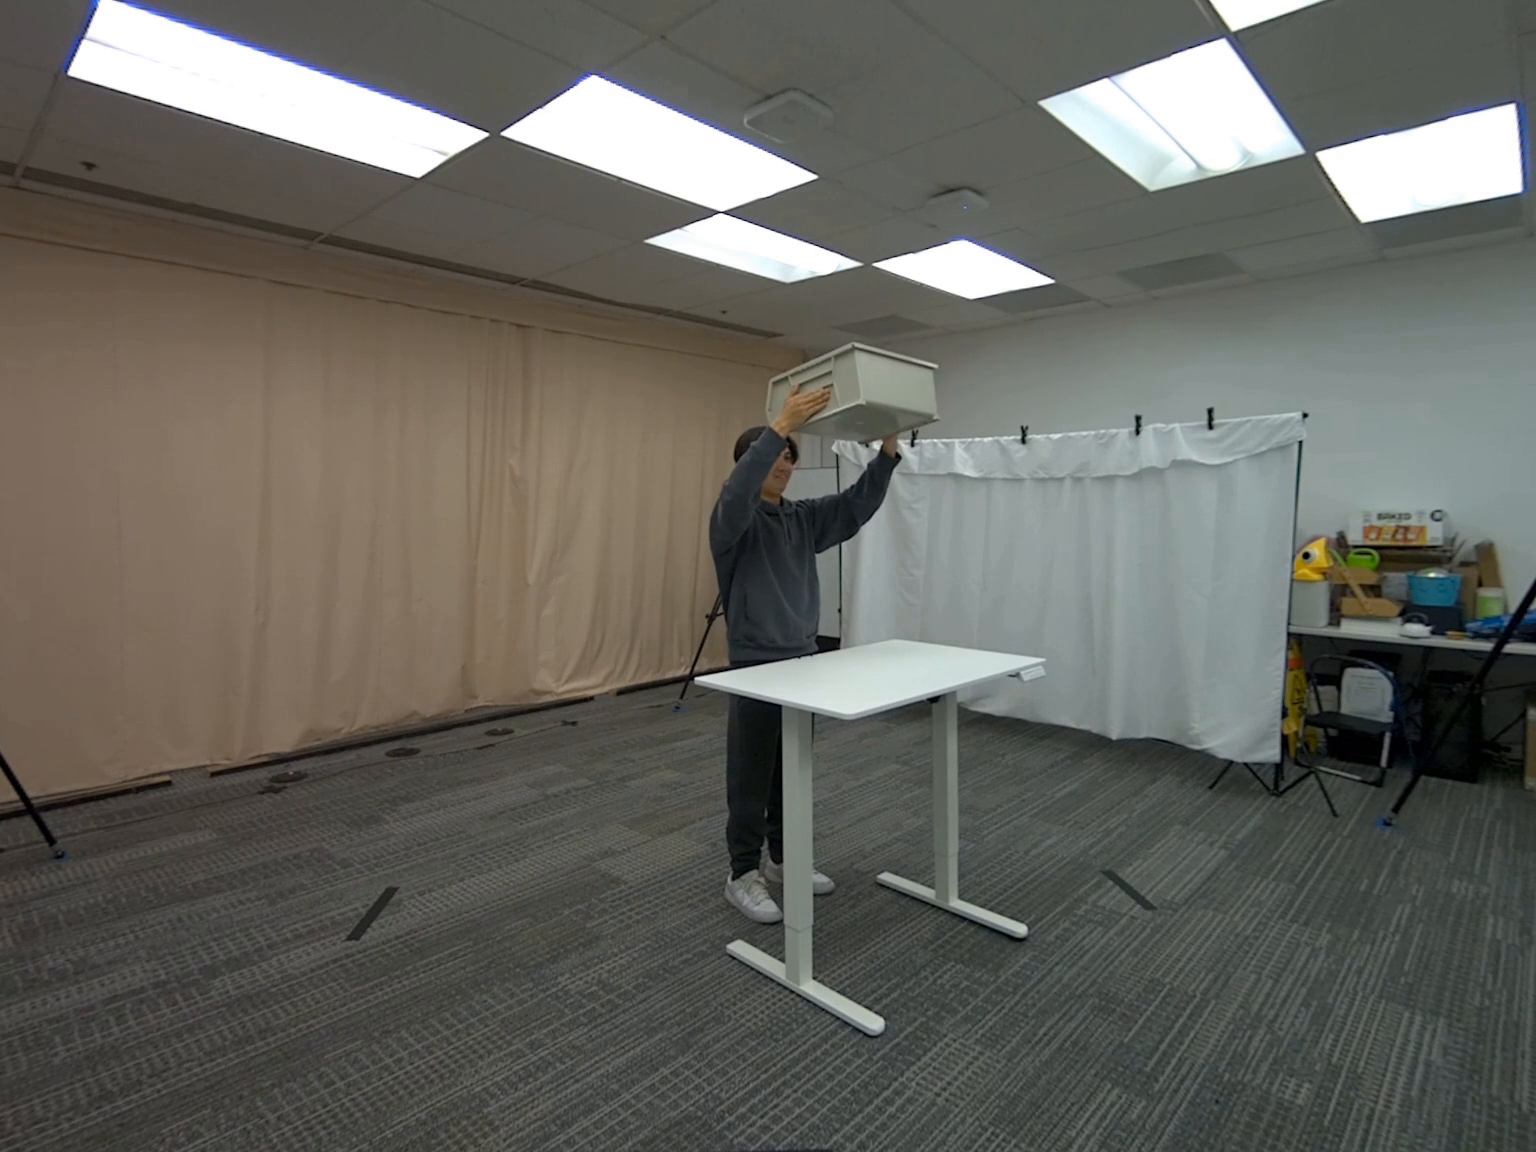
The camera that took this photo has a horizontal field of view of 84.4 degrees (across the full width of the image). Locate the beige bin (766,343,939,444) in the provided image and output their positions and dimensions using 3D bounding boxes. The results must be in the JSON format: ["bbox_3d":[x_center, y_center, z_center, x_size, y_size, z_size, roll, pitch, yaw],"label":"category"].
[{"bbox_3d":[0.273,-0.555,2.673,0.409,0.190,0.388,0,-7,-44],"label":"beige bin"}]
